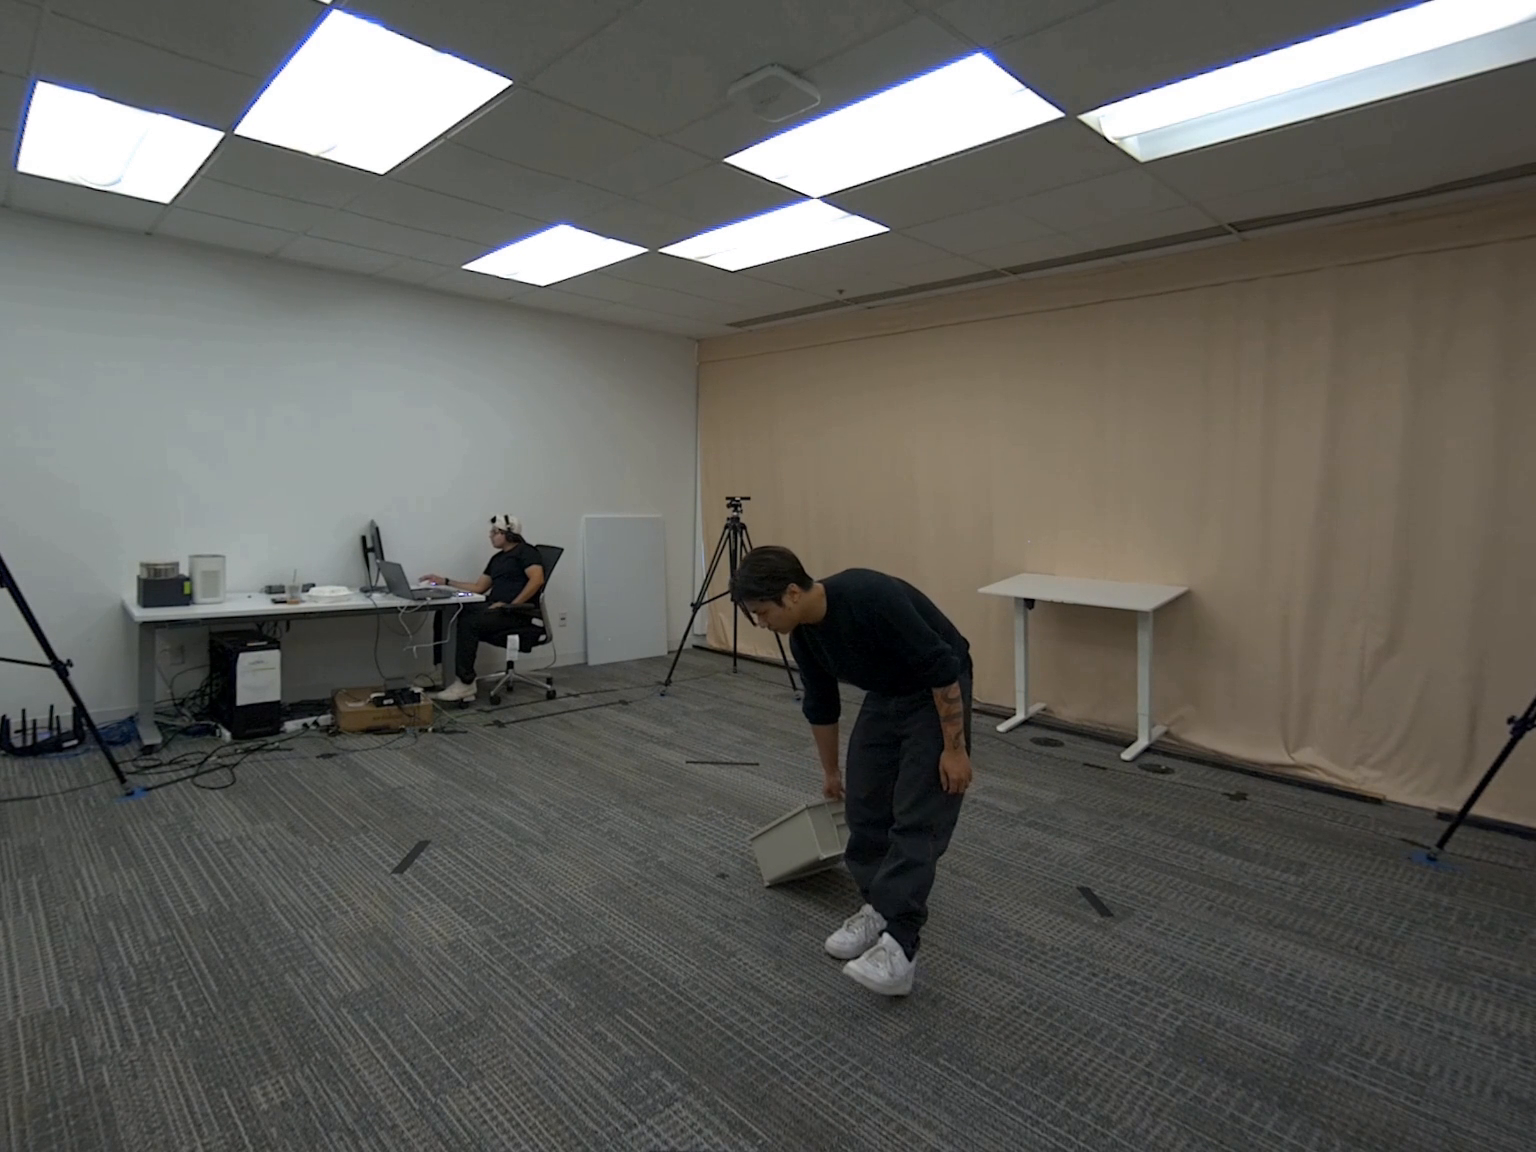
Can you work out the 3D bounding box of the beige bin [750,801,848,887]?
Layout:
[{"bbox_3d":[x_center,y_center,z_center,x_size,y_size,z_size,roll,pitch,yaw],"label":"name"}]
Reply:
[{"bbox_3d":[0.197,0.933,3.000,0.369,0.193,0.422,-3,-28,-34],"label":"beige bin"}]
